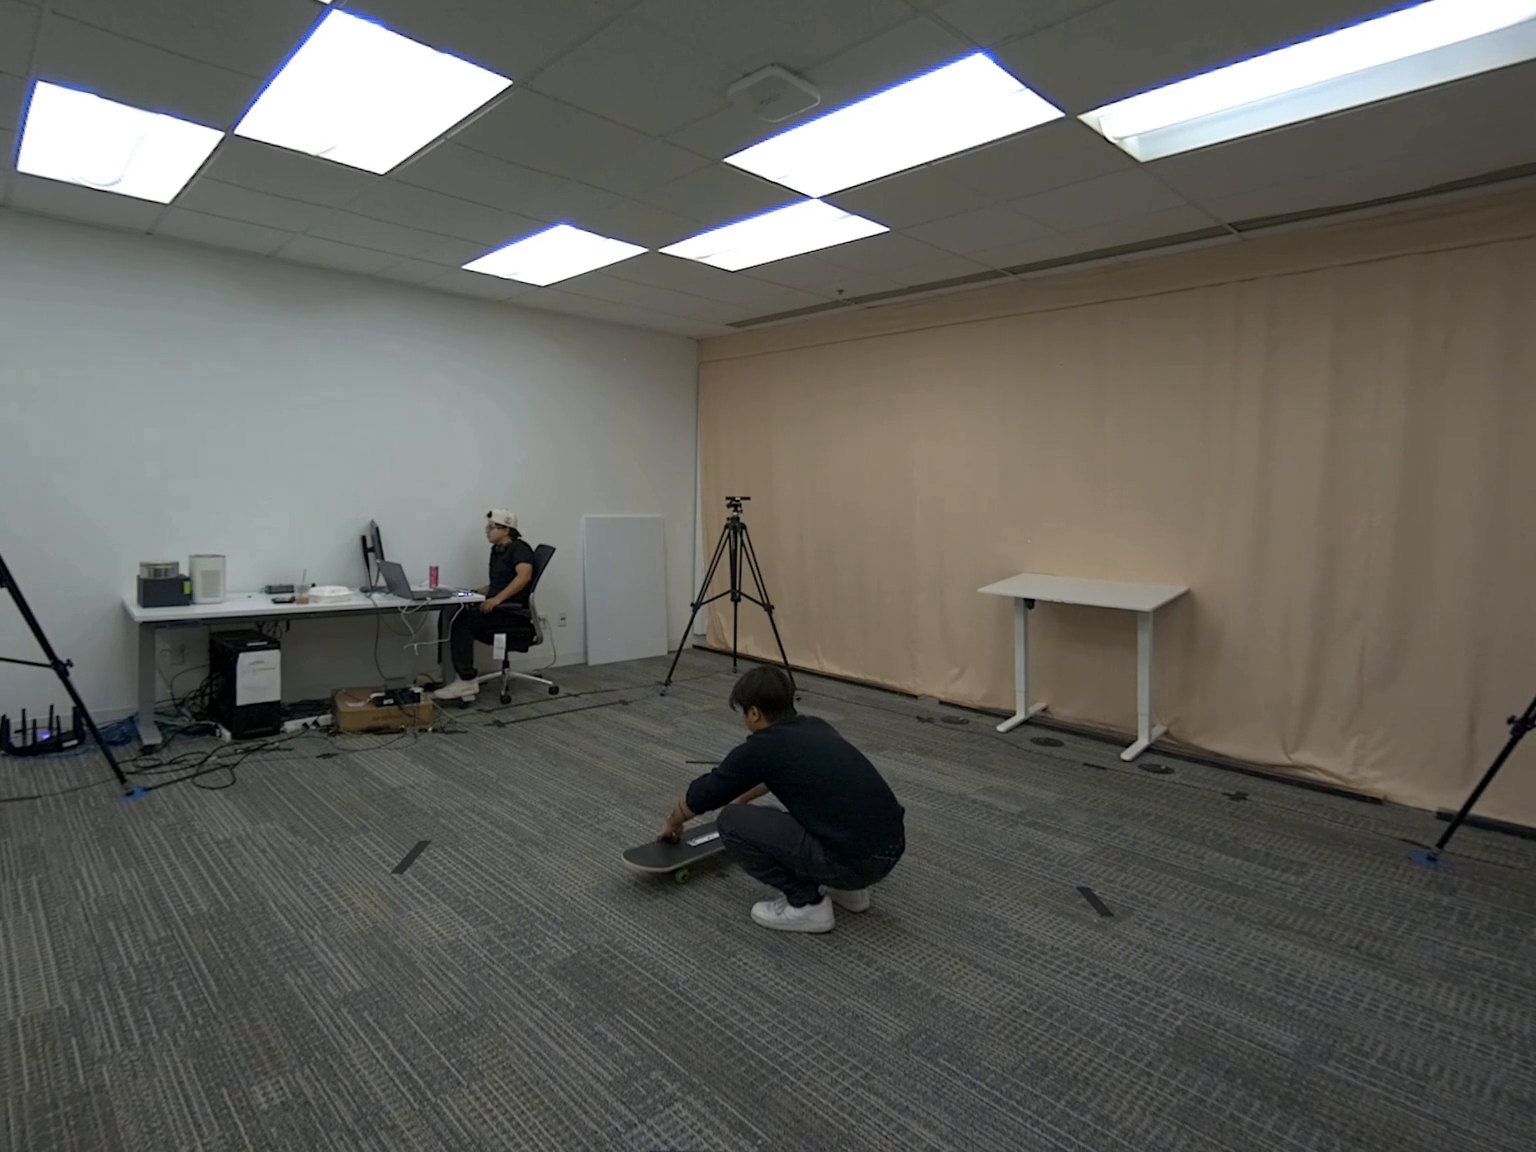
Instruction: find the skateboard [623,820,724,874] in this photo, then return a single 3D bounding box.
[{"bbox_3d":[-0.242,1.024,3.232,0.199,0.110,0.768,10,10,42],"label":"skateboard"}]
